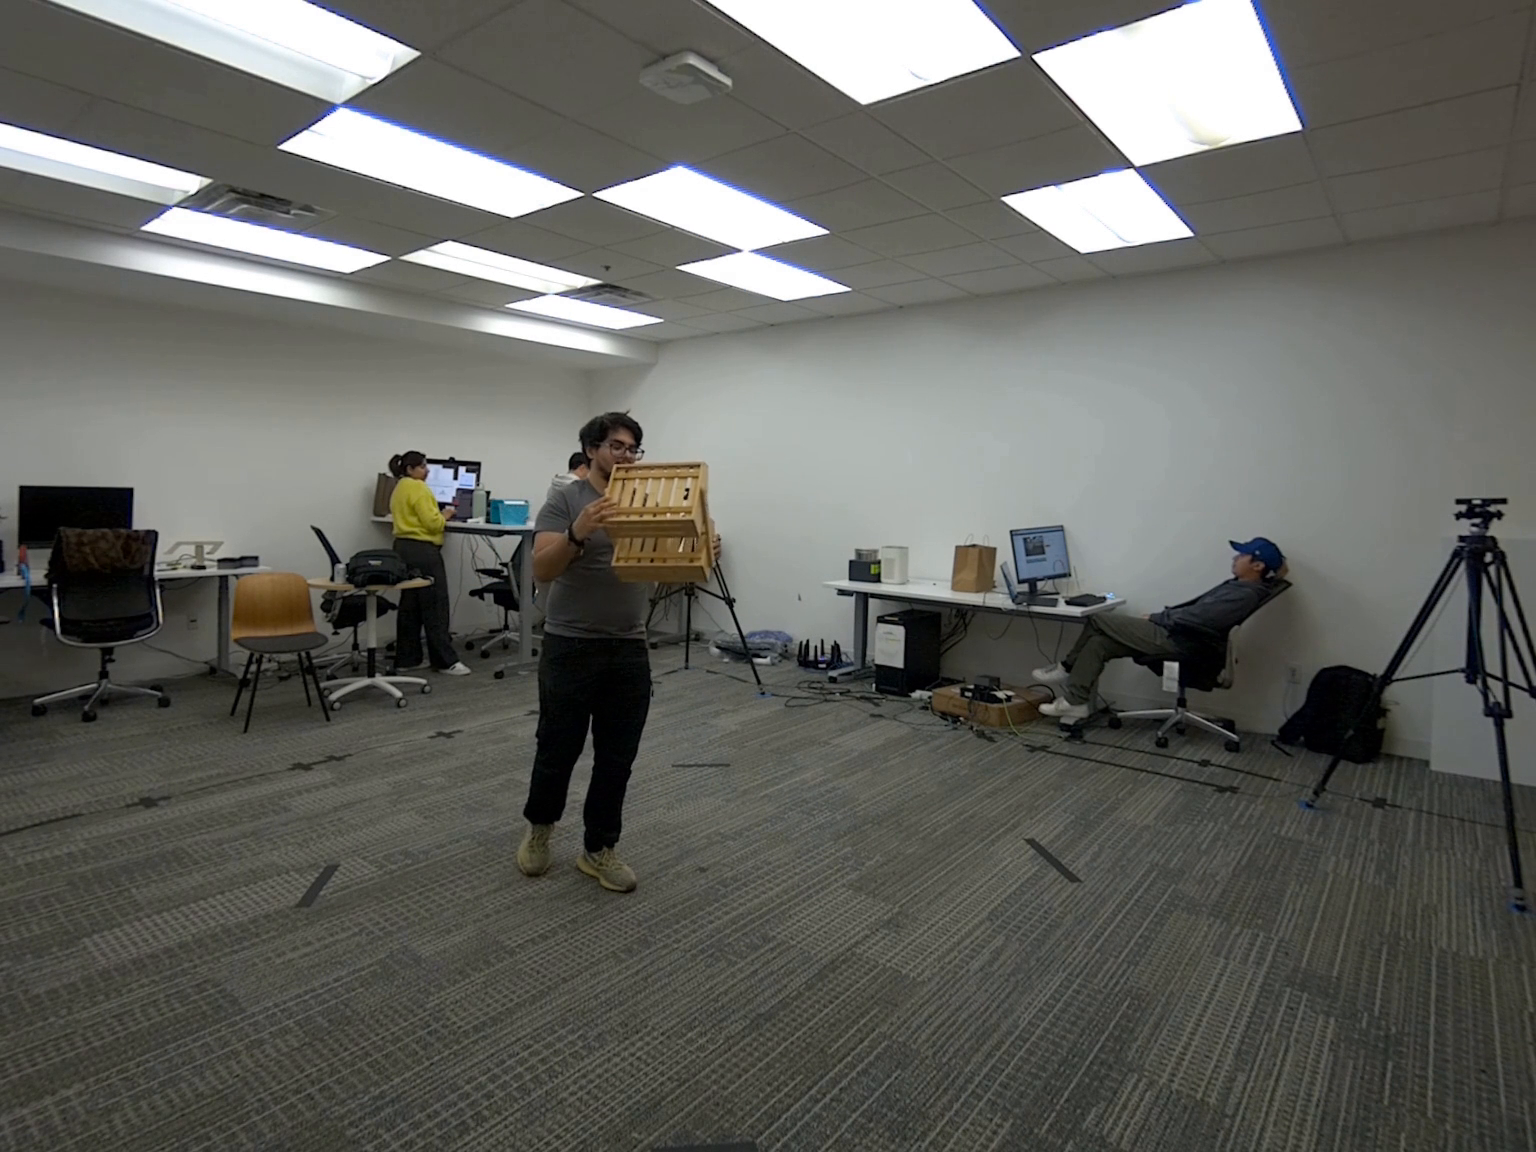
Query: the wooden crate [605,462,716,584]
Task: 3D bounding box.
[{"bbox_3d":[-0.353,-0.175,2.721,0.328,0.309,0.264,0,-37,11],"label":"wooden crate"}]
